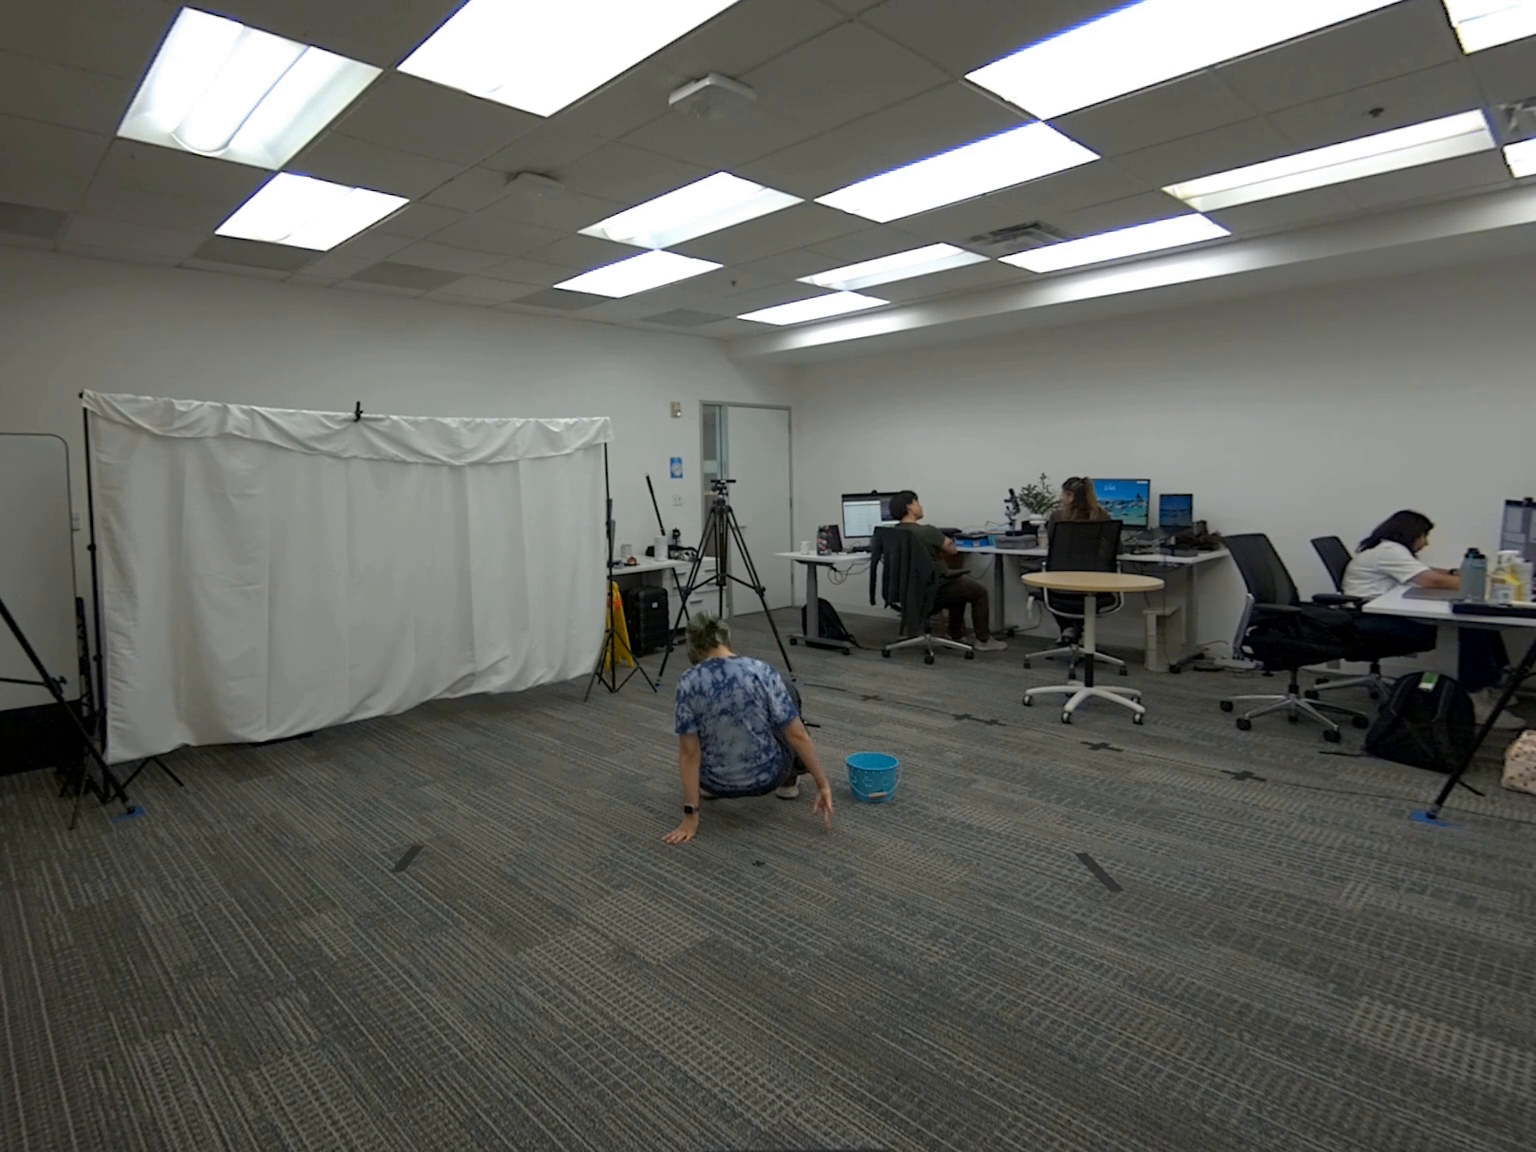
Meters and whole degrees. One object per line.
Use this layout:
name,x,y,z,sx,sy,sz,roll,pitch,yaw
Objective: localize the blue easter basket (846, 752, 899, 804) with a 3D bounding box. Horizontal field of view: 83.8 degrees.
blue easter basket,0.451,0.882,3.759,0.243,0.155,0.245,-1,5,-2
